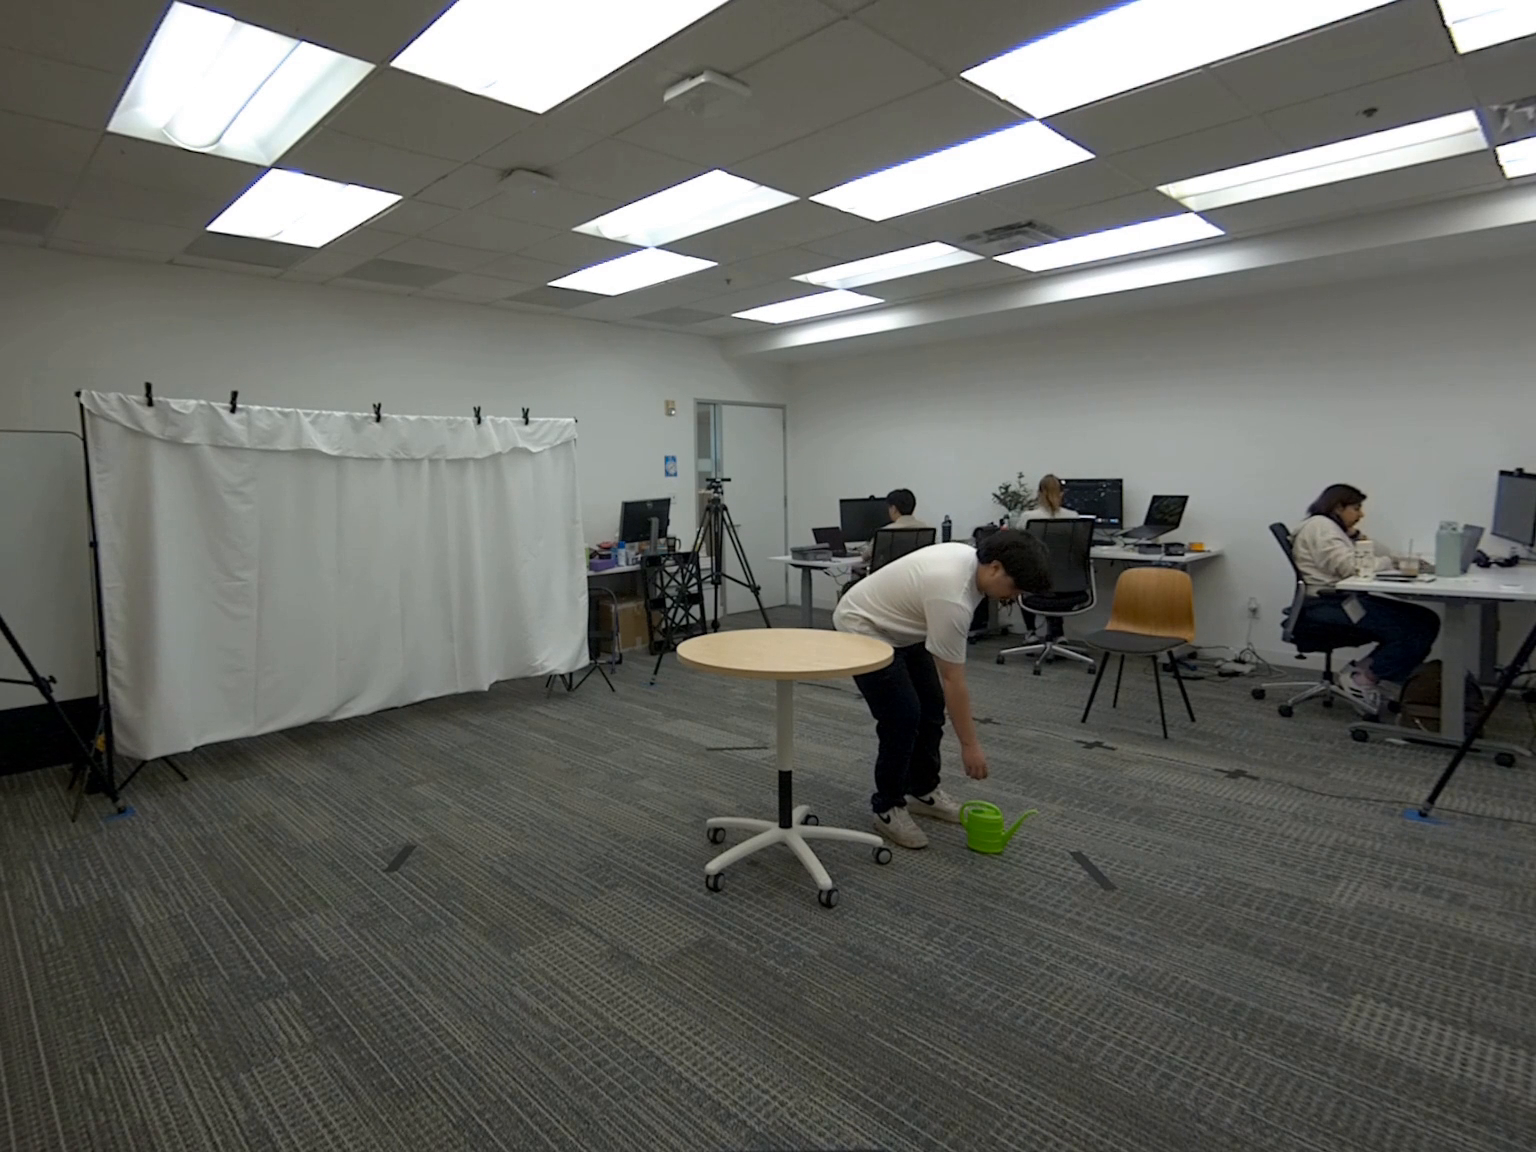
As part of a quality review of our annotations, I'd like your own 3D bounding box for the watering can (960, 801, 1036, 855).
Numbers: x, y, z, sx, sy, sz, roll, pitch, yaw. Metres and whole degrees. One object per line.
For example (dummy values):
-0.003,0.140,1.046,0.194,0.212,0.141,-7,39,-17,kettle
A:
0.860,0.937,3.159,0.286,0.176,0.095,1,5,40,watering can
